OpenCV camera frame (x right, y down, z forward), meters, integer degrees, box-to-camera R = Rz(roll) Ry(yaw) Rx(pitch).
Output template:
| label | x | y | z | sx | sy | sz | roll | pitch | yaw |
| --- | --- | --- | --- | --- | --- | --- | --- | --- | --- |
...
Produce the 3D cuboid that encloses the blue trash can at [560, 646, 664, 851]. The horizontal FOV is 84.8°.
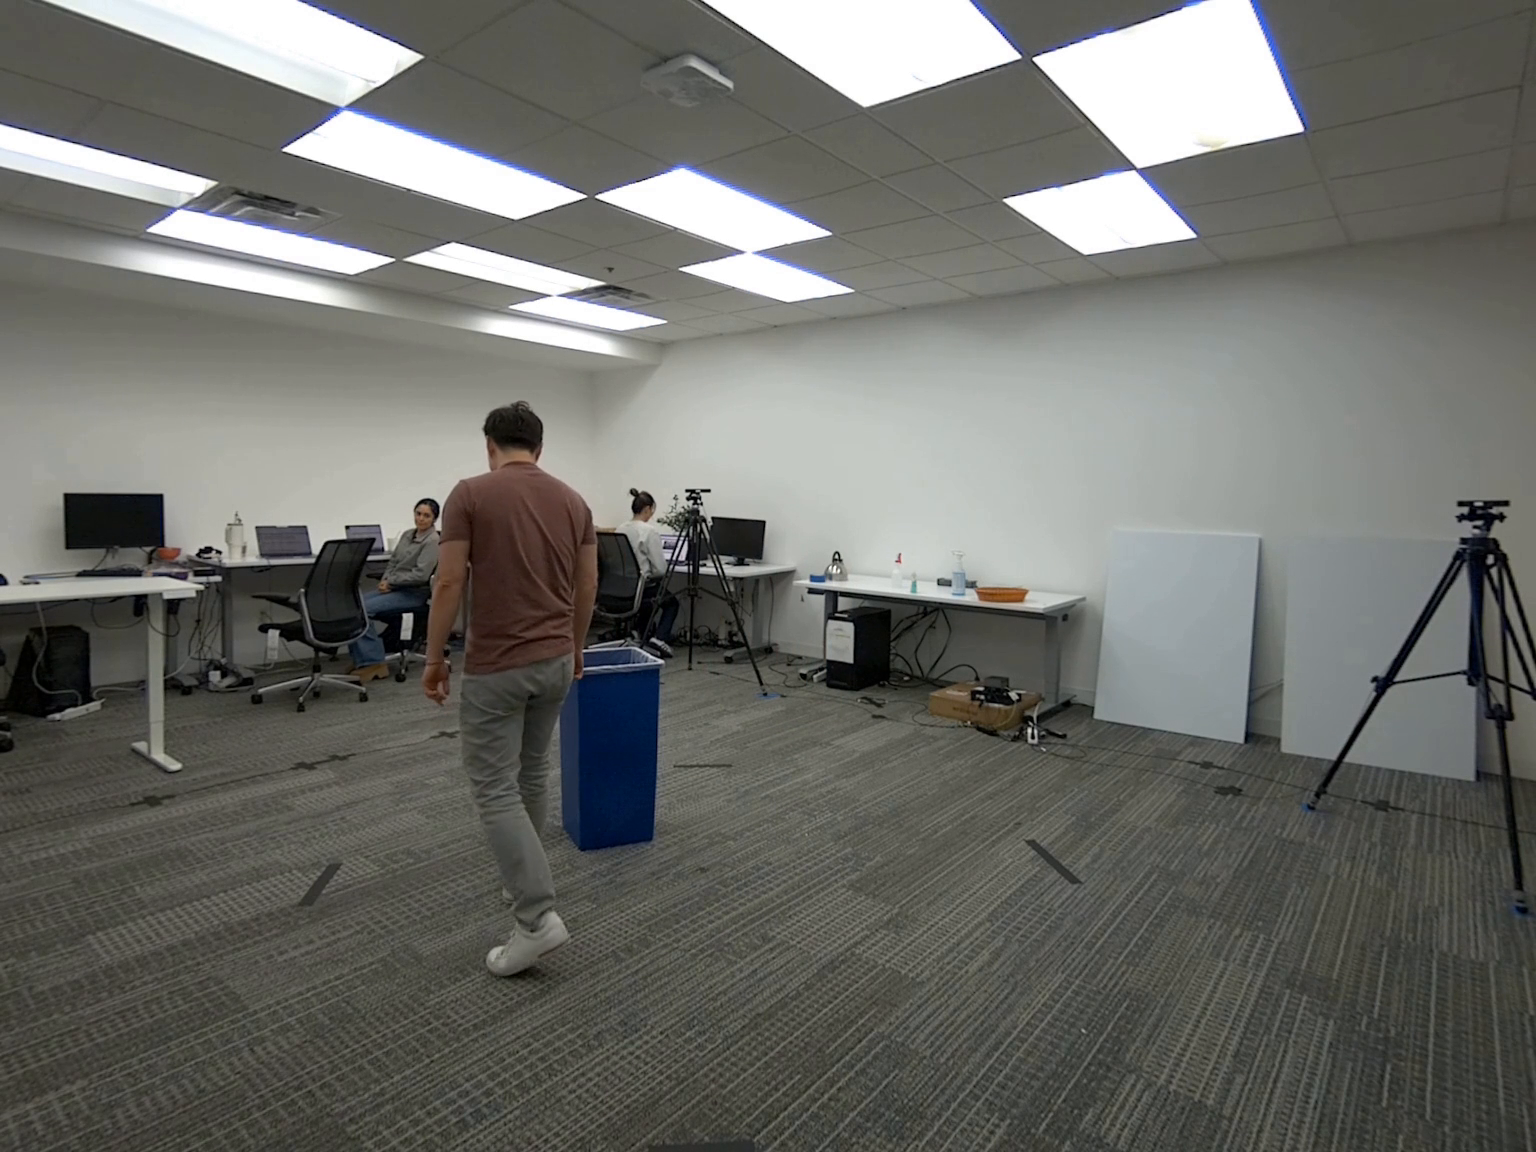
| label | x | y | z | sx | sy | sz | roll | pitch | yaw |
| --- | --- | --- | --- | --- | --- | --- | --- | --- | --- |
| blue trash can | -0.660 | 0.678 | 3.422 | 0.365 | 0.712 | 0.389 | -1 | 3 | -27 |
